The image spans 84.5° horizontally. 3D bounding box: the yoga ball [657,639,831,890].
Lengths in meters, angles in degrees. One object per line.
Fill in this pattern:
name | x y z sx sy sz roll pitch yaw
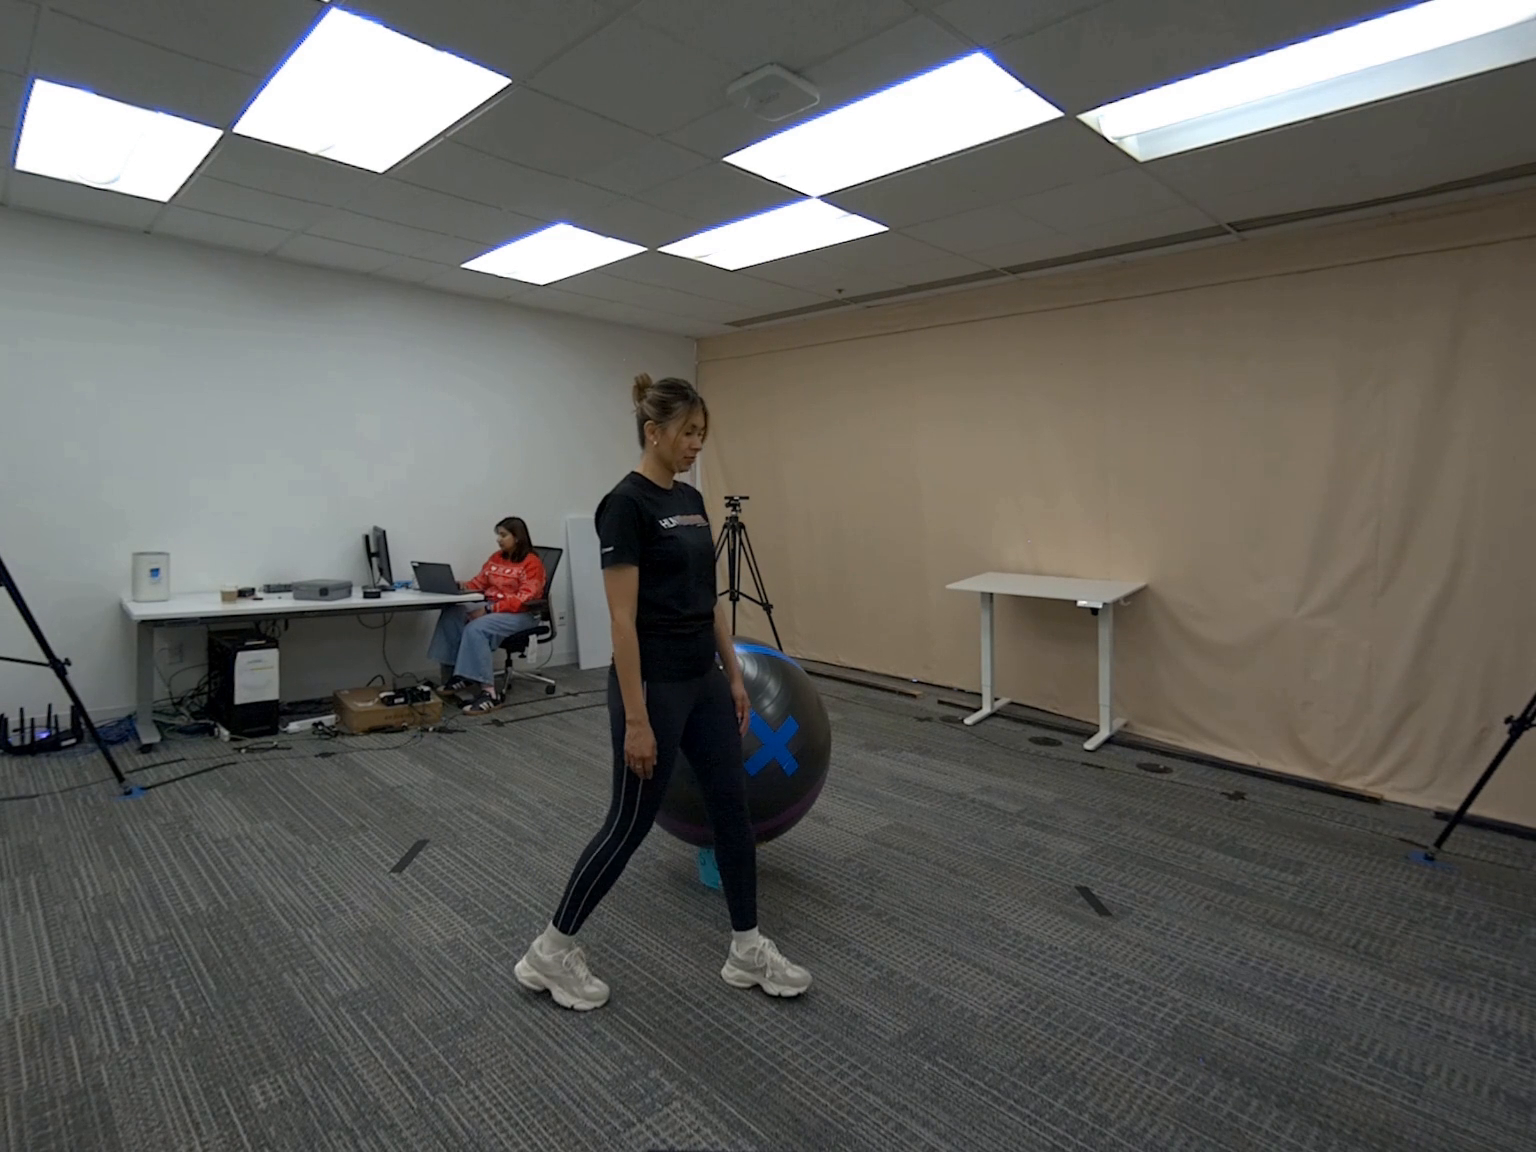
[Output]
yoga ball | -0.156 0.601 3.048 0.757 0.756 0.761 1 4 -1
